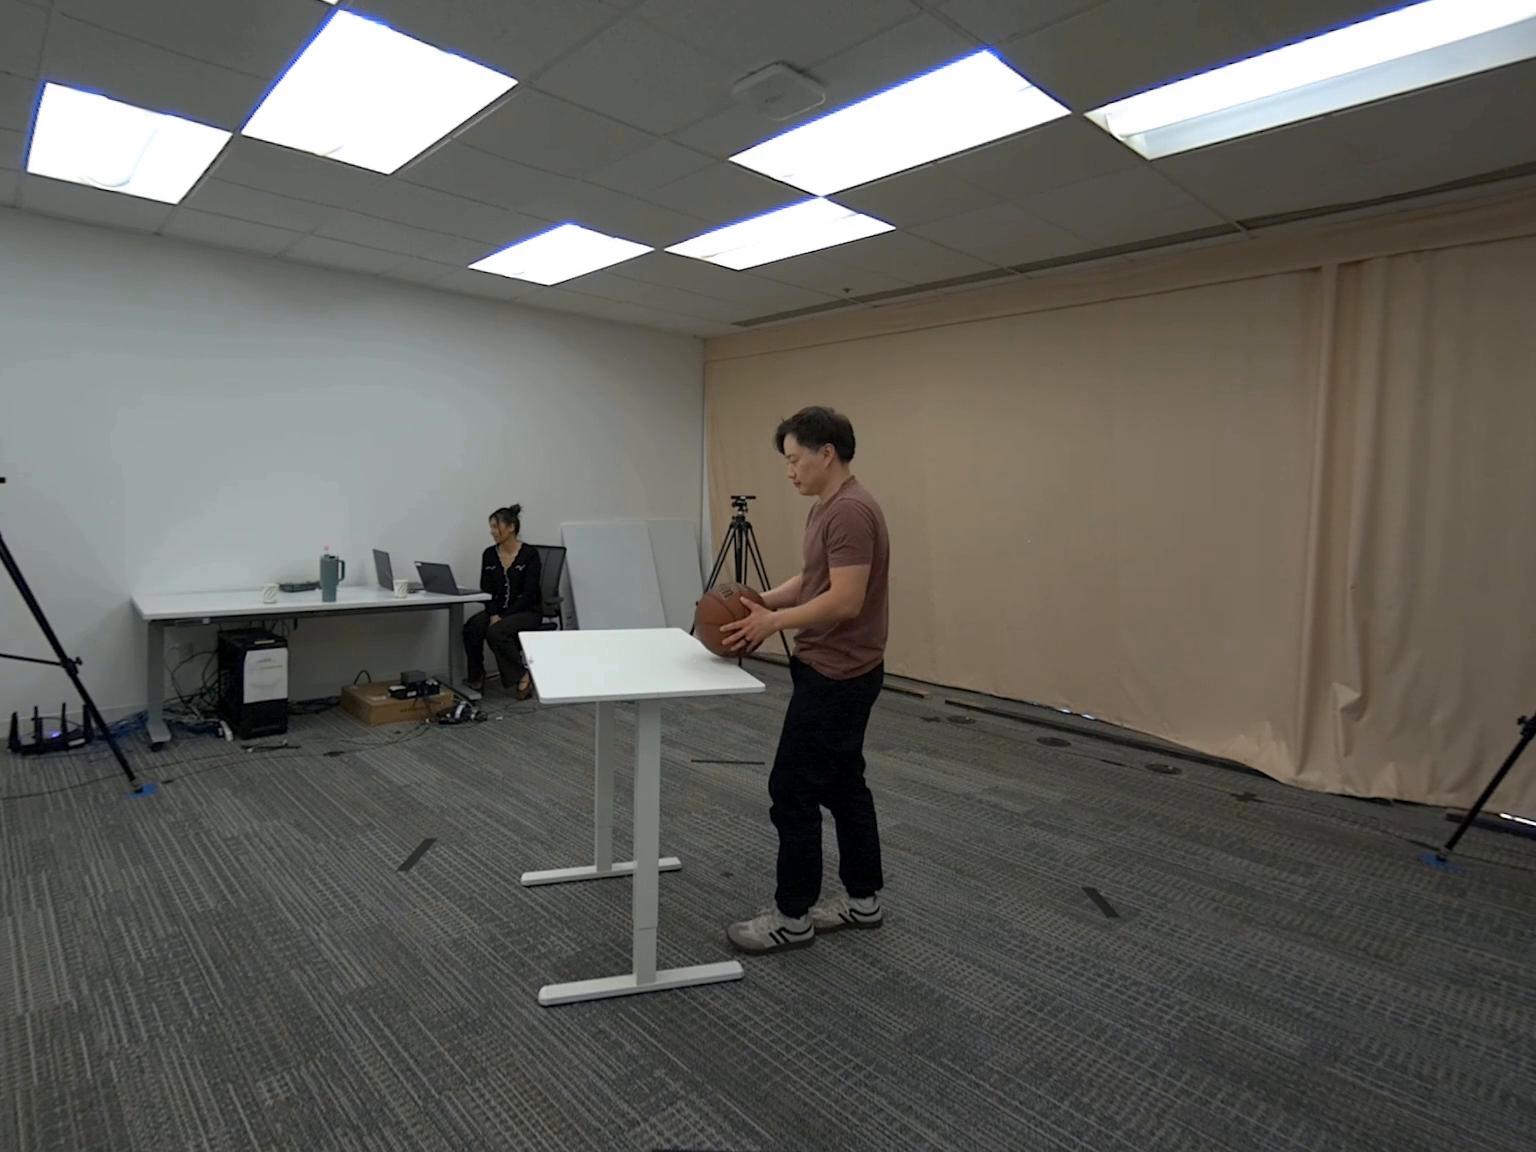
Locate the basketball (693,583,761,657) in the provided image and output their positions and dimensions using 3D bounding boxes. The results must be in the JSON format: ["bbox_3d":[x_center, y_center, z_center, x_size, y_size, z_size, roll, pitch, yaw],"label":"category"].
[{"bbox_3d":[-0.108,0.143,2.629,0.236,0.235,0.237,1,4,-1],"label":"basketball"}]
